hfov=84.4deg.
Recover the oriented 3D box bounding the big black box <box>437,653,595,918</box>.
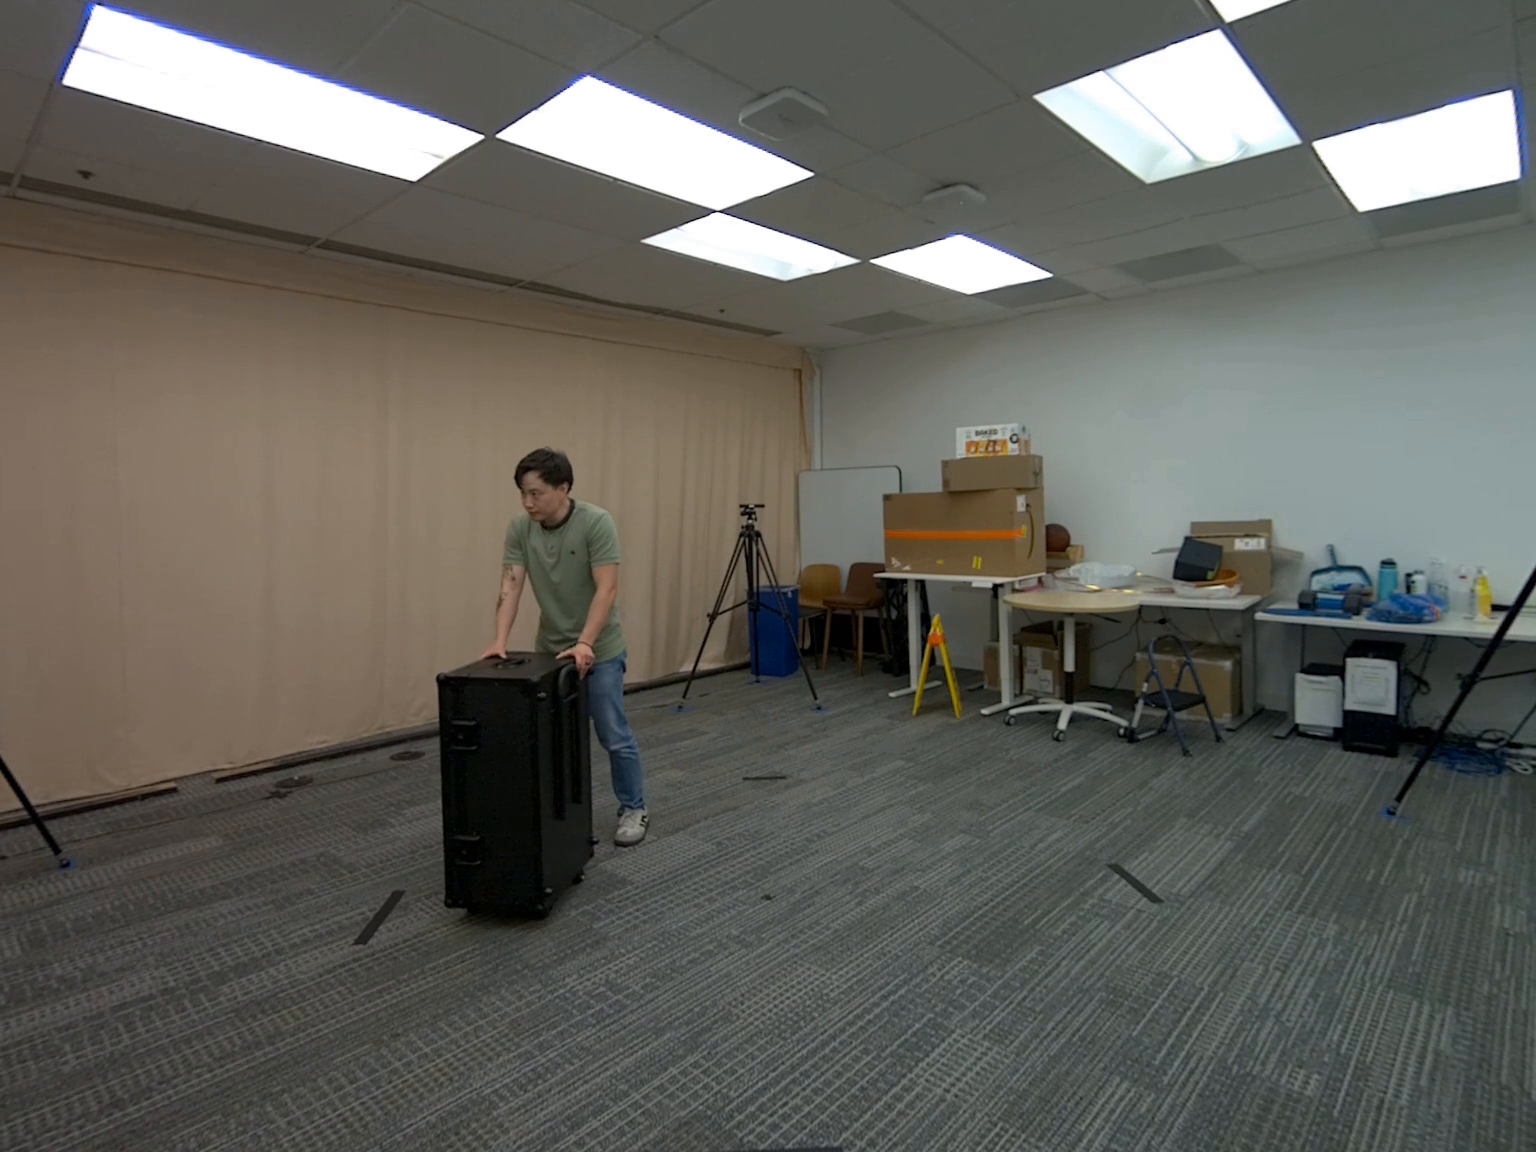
[{"bbox_3d":[-0.864,0.735,2.999,0.401,0.860,0.516,1,3,10],"label":"big black box"}]
